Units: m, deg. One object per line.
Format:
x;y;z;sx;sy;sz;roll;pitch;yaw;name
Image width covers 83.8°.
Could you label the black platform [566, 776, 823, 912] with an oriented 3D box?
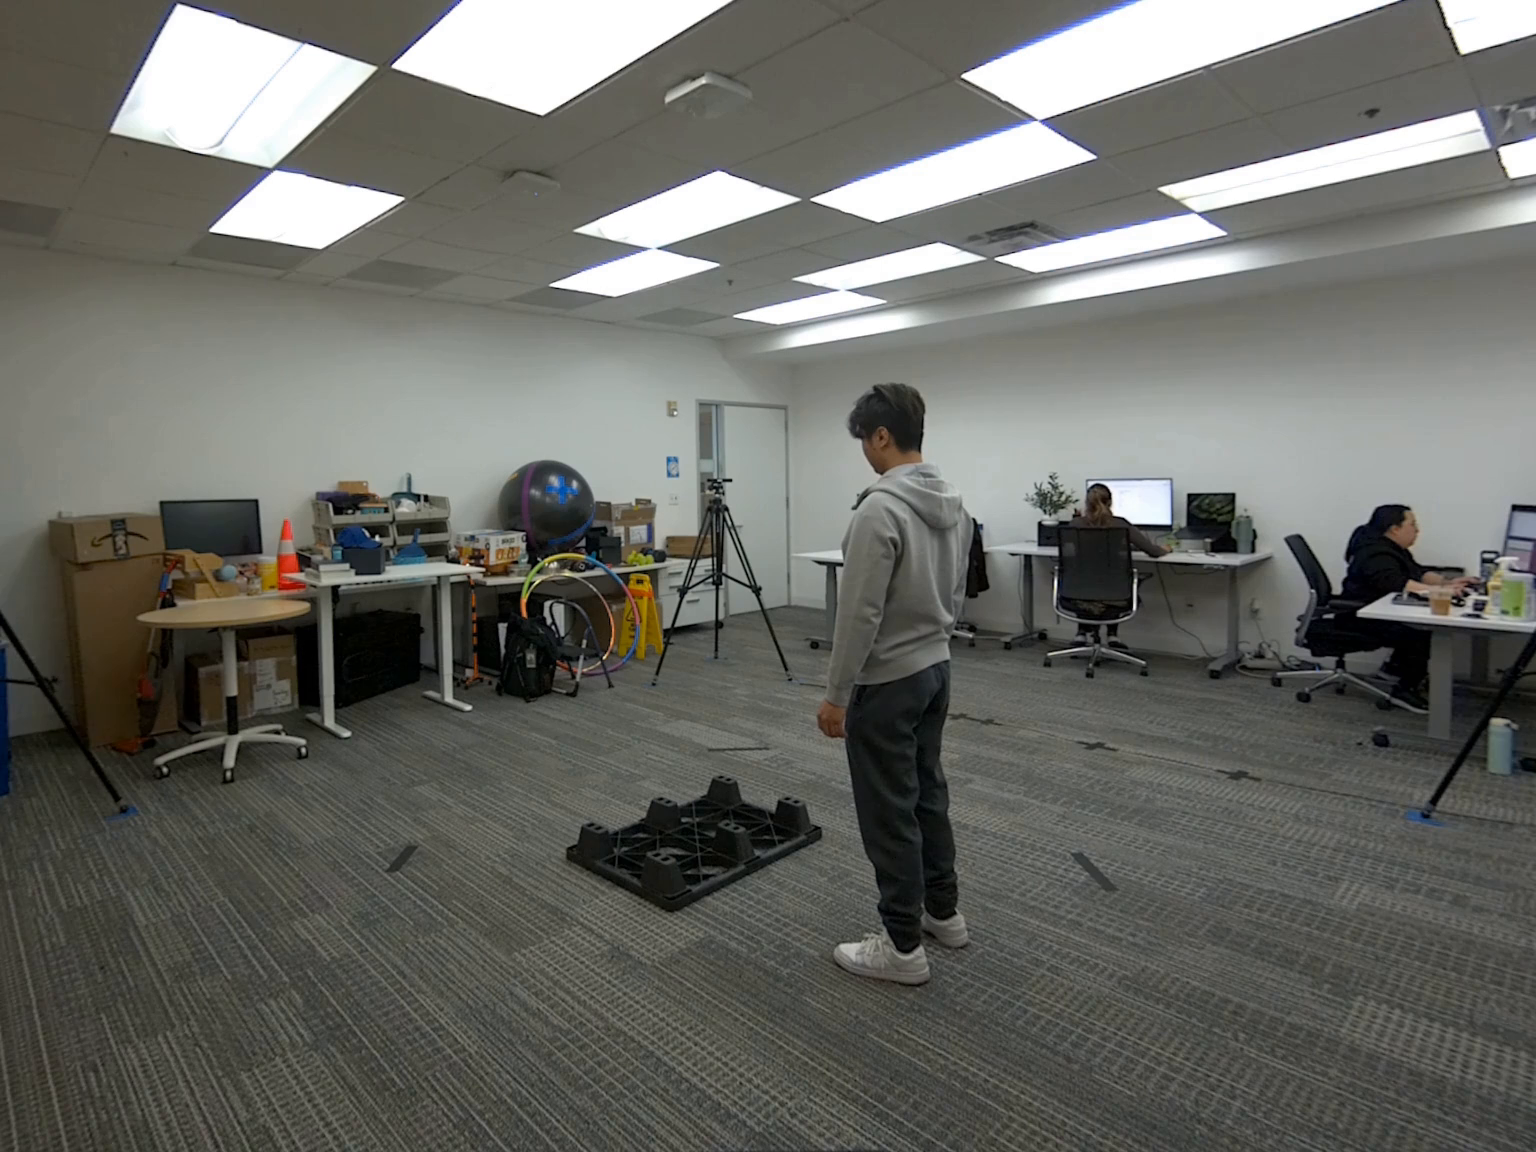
-0.267;0.966;3.250;0.624;0.142;0.785;5;9;43;black platform
